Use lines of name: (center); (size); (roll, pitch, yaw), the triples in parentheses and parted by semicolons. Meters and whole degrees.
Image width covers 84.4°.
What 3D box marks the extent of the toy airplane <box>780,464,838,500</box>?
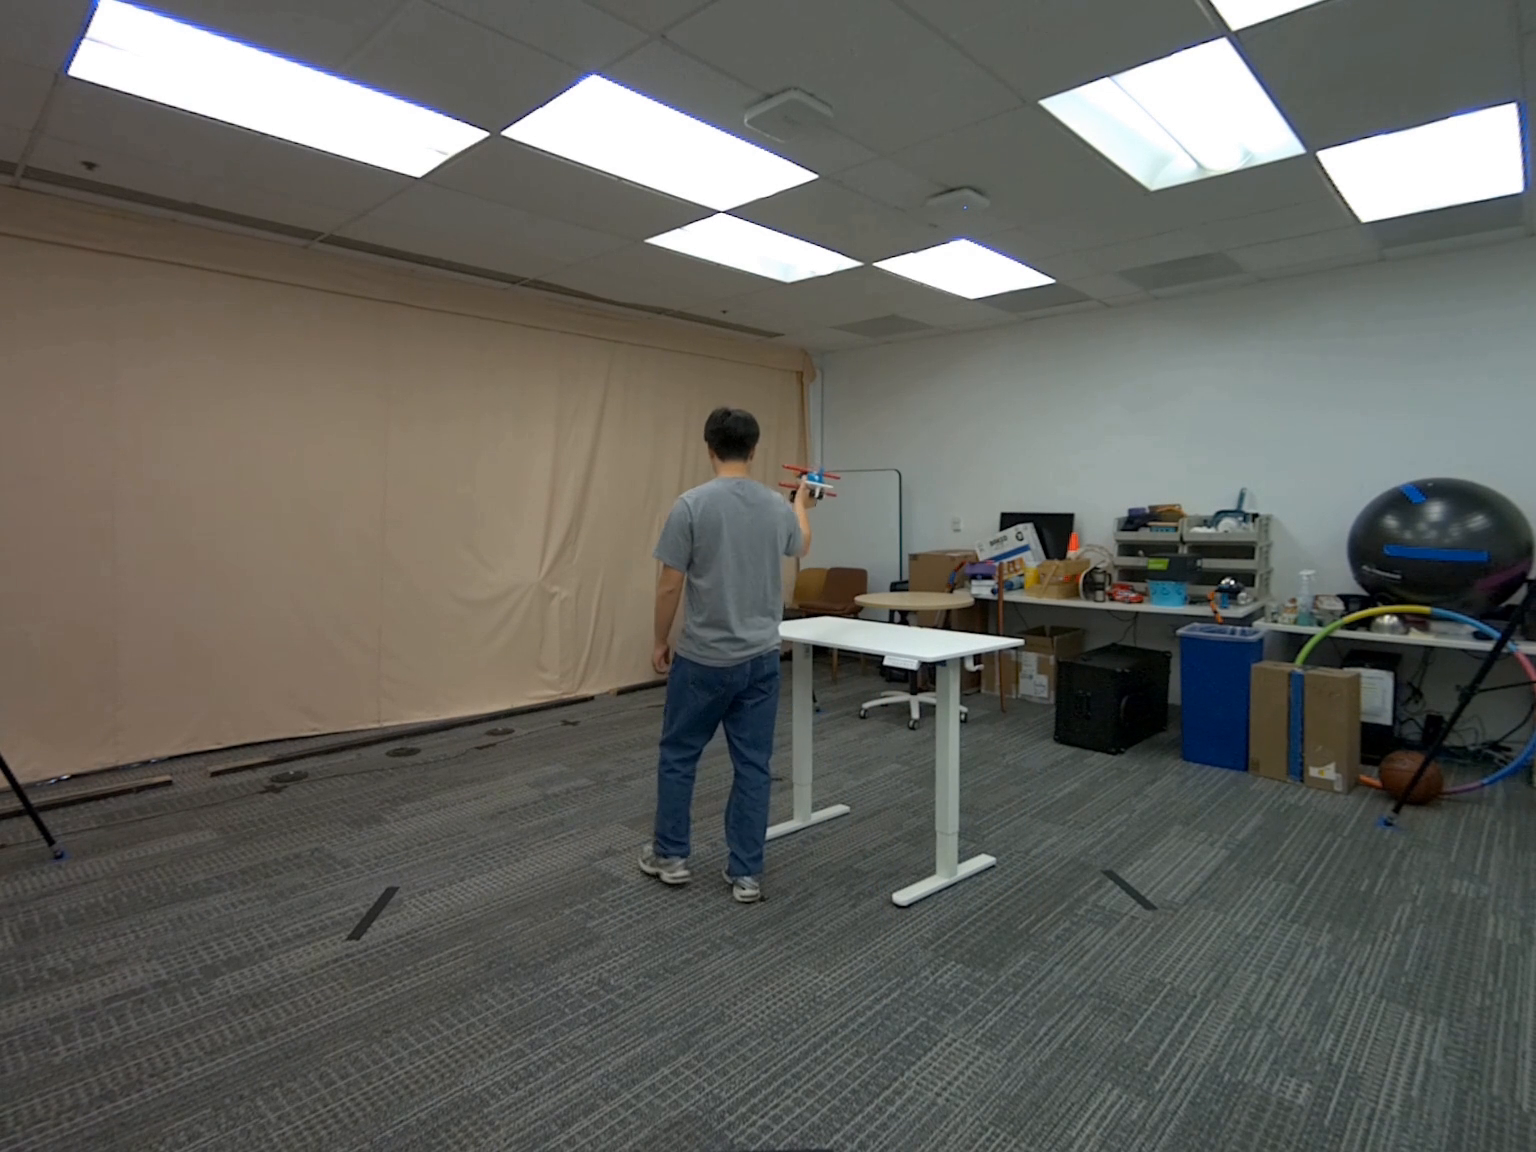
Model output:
toy airplane: (0.208, -0.385, 3.550); (0.242, 0.157, 0.267); (15, -8, -40)
